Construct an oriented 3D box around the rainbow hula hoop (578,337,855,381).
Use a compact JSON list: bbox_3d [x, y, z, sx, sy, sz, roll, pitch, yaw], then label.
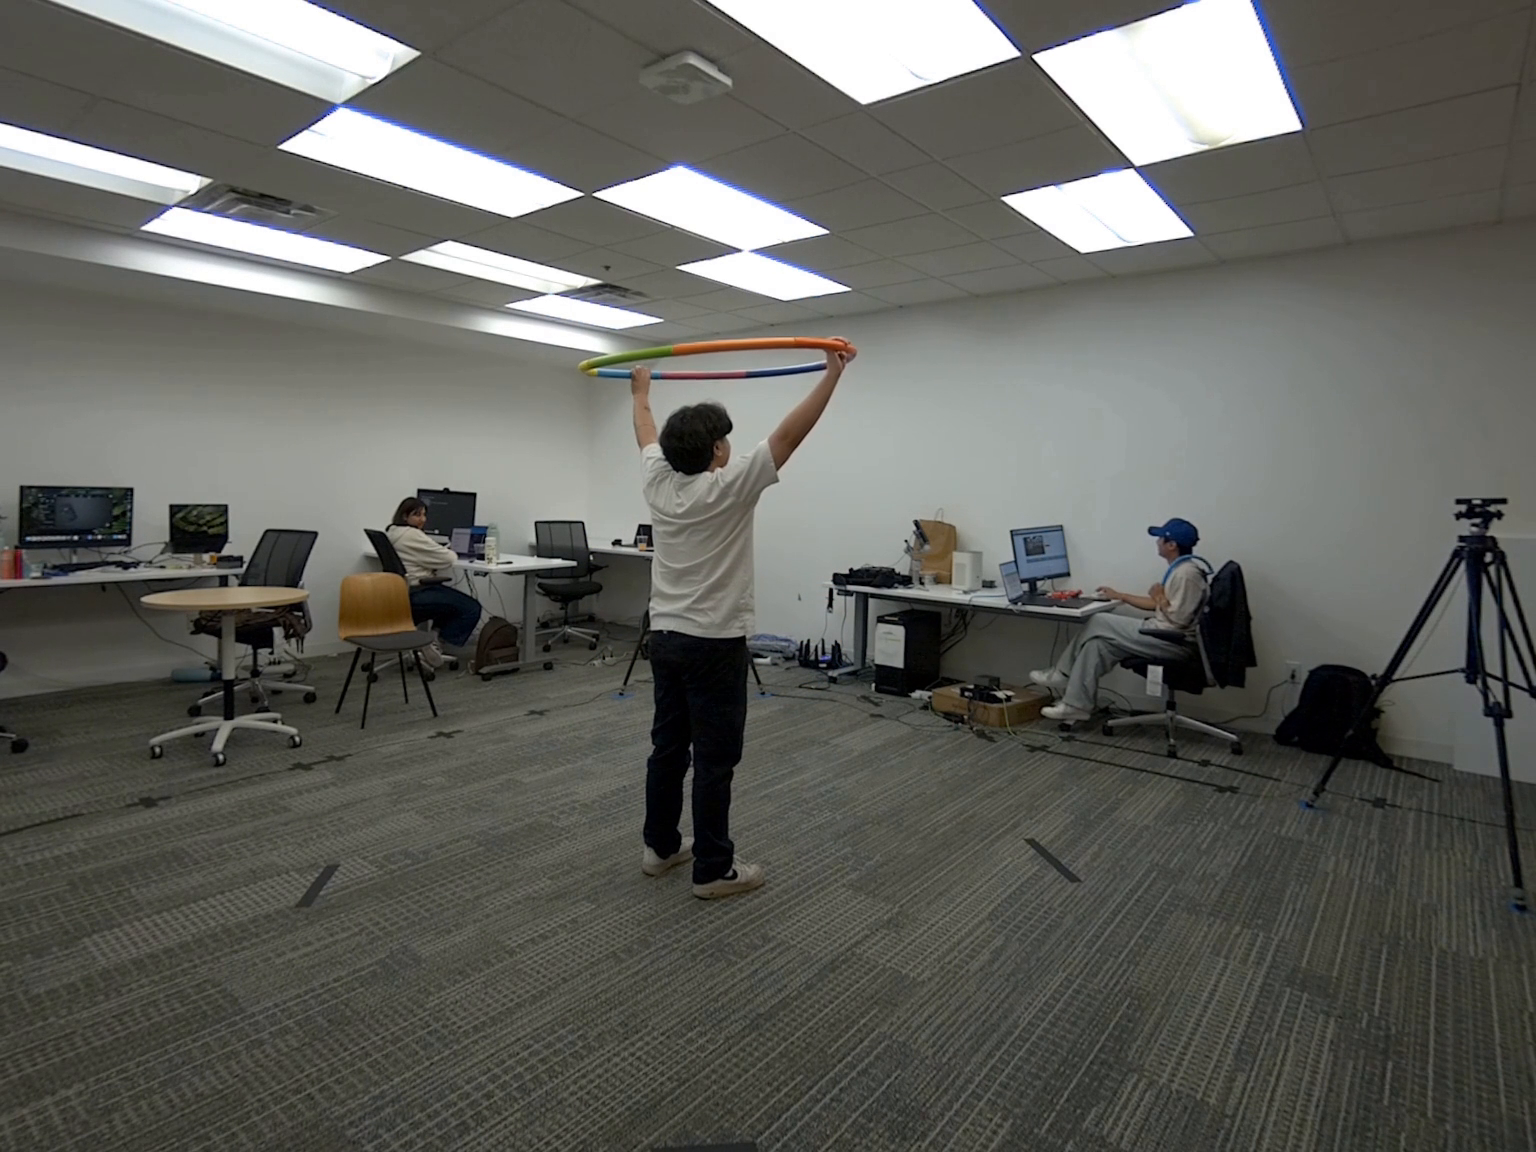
[{"bbox_3d":[-0.192,-0.769,3.049,0.985,0.051,0.993,-3,9,-1],"label":"rainbow hula hoop"}]
